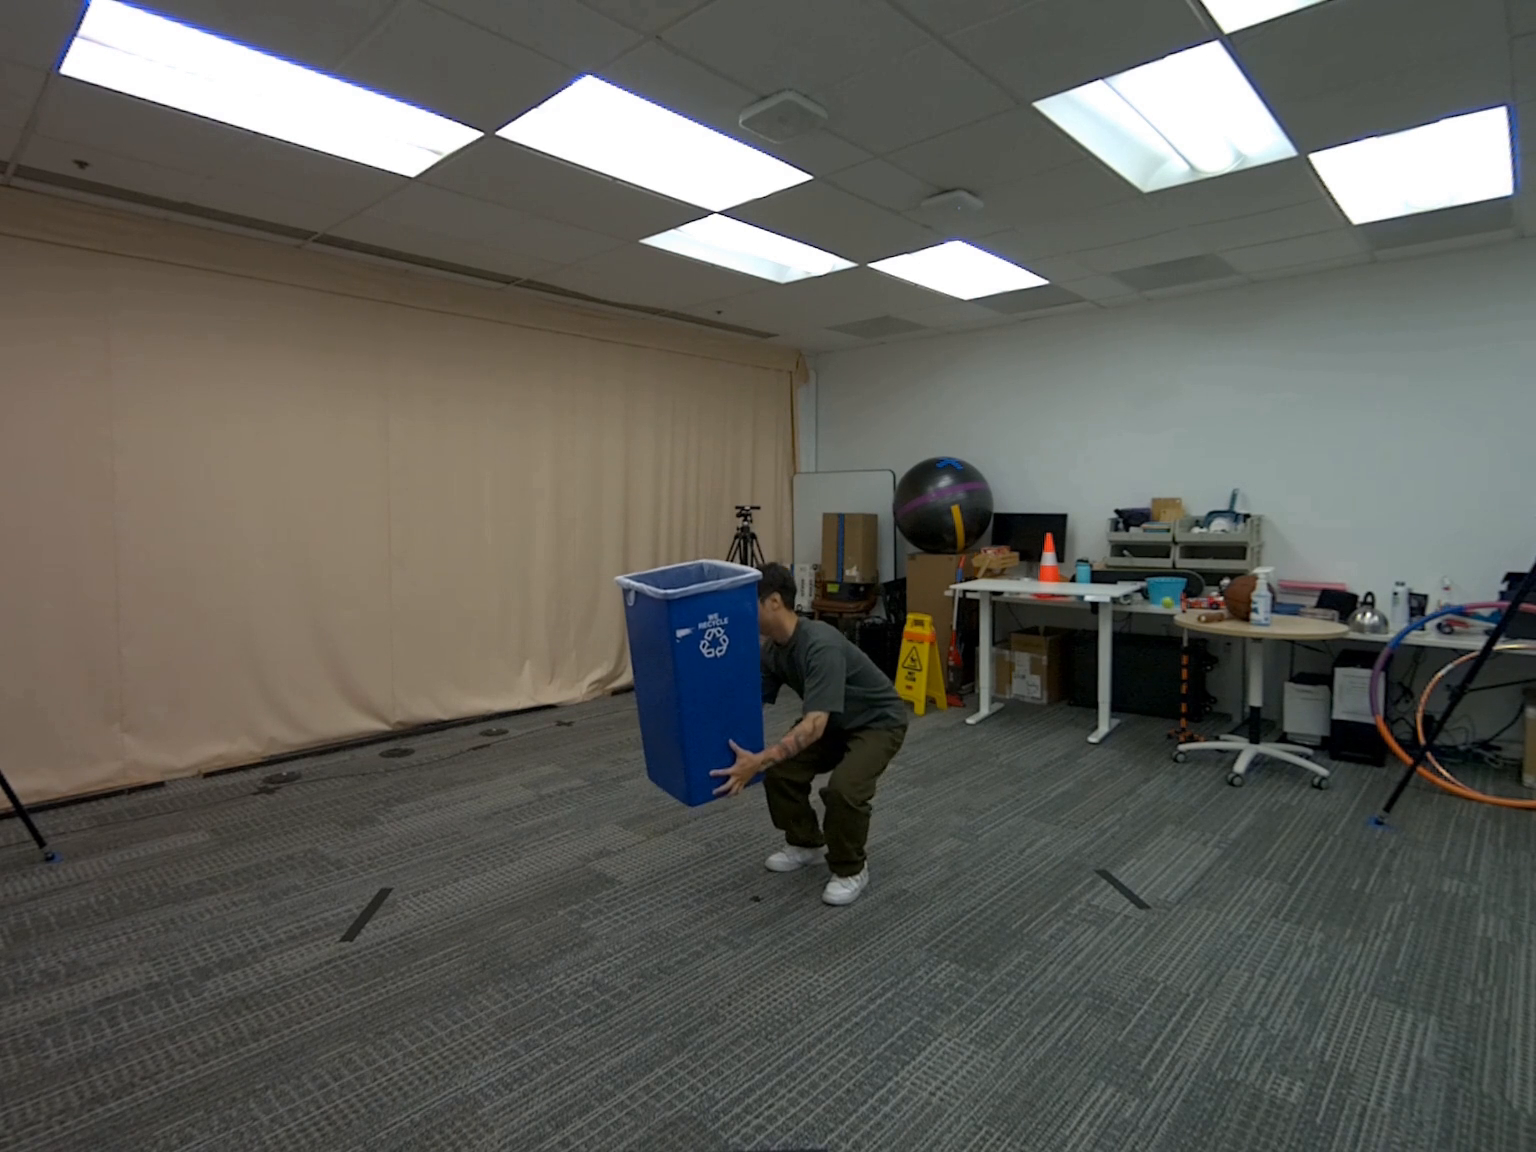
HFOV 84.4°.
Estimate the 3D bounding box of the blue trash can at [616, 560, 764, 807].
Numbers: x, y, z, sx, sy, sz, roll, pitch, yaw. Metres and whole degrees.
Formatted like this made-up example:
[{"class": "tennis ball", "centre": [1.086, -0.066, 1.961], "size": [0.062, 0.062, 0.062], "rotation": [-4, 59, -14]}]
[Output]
[{"class": "blue trash can", "centre": [-0.230, 0.335, 2.798], "size": [0.368, 0.708, 0.386], "rotation": [-12, 12, -34]}]
